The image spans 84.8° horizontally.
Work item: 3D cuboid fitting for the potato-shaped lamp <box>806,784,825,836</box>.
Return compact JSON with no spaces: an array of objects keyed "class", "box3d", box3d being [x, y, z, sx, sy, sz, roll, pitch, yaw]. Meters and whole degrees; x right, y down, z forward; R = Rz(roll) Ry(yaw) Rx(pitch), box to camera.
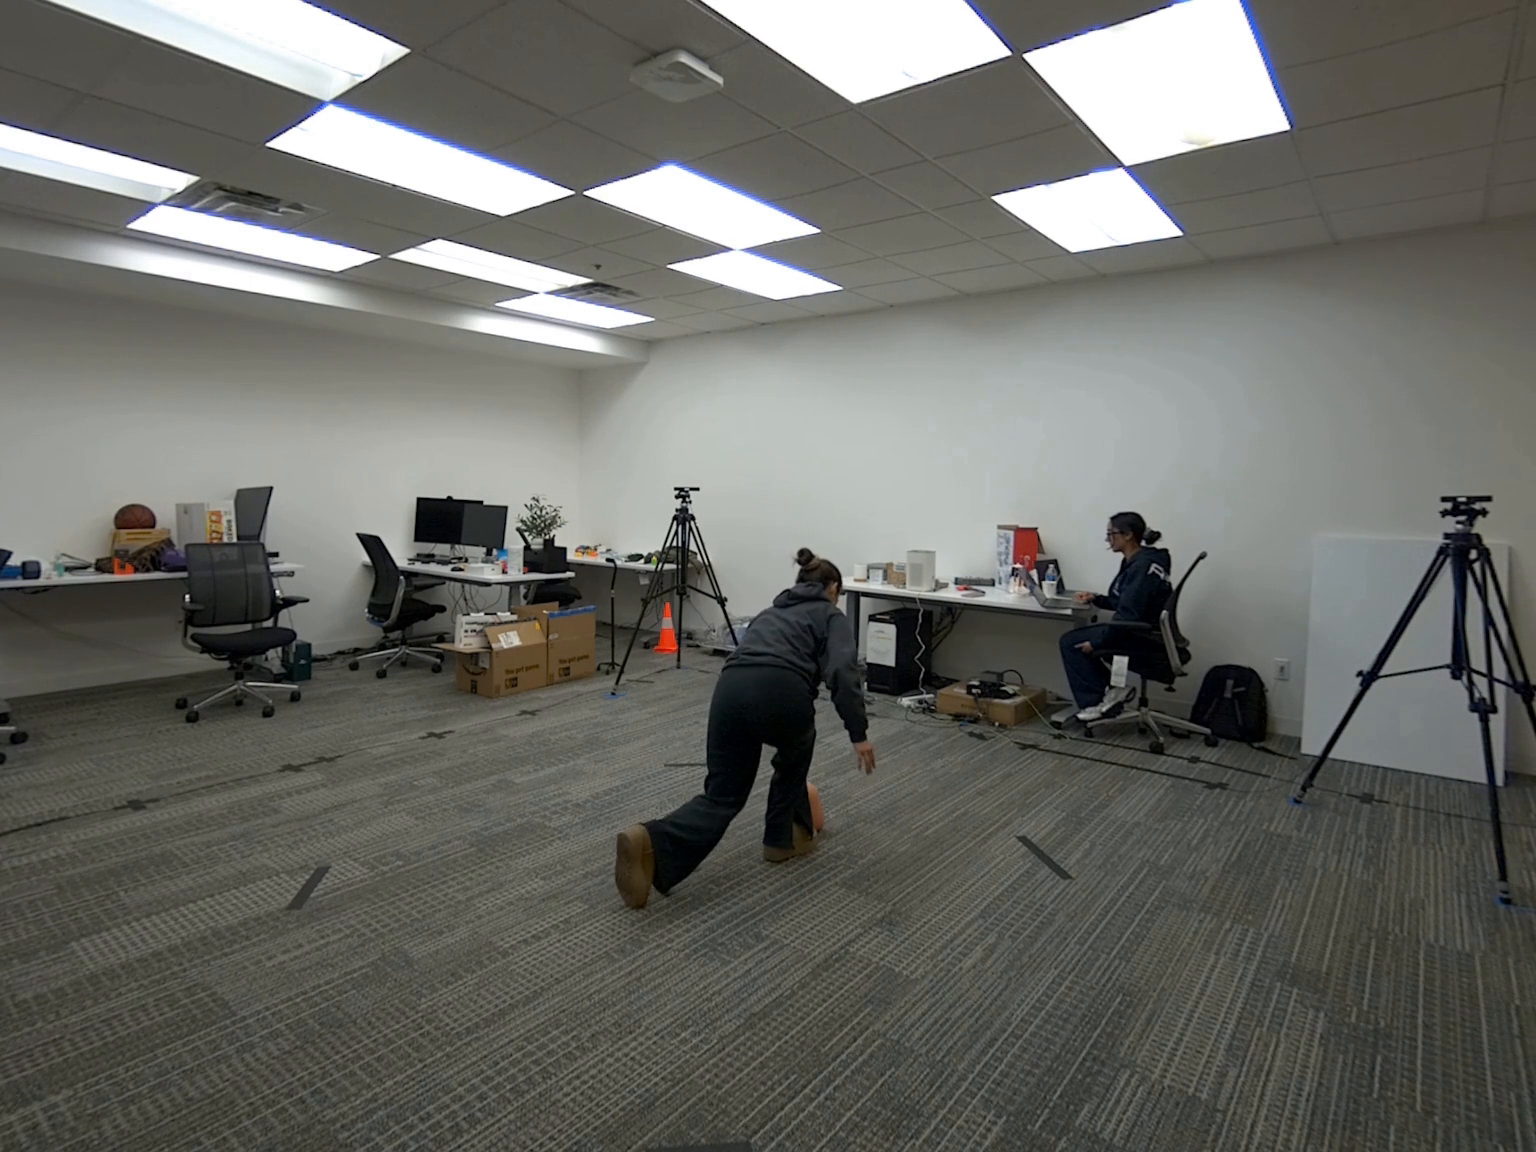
[{"class":"potato-shaped lamp","box3d":[0.147,0.933,3.481,0.170,0.197,0.166,6,6,39]}]
